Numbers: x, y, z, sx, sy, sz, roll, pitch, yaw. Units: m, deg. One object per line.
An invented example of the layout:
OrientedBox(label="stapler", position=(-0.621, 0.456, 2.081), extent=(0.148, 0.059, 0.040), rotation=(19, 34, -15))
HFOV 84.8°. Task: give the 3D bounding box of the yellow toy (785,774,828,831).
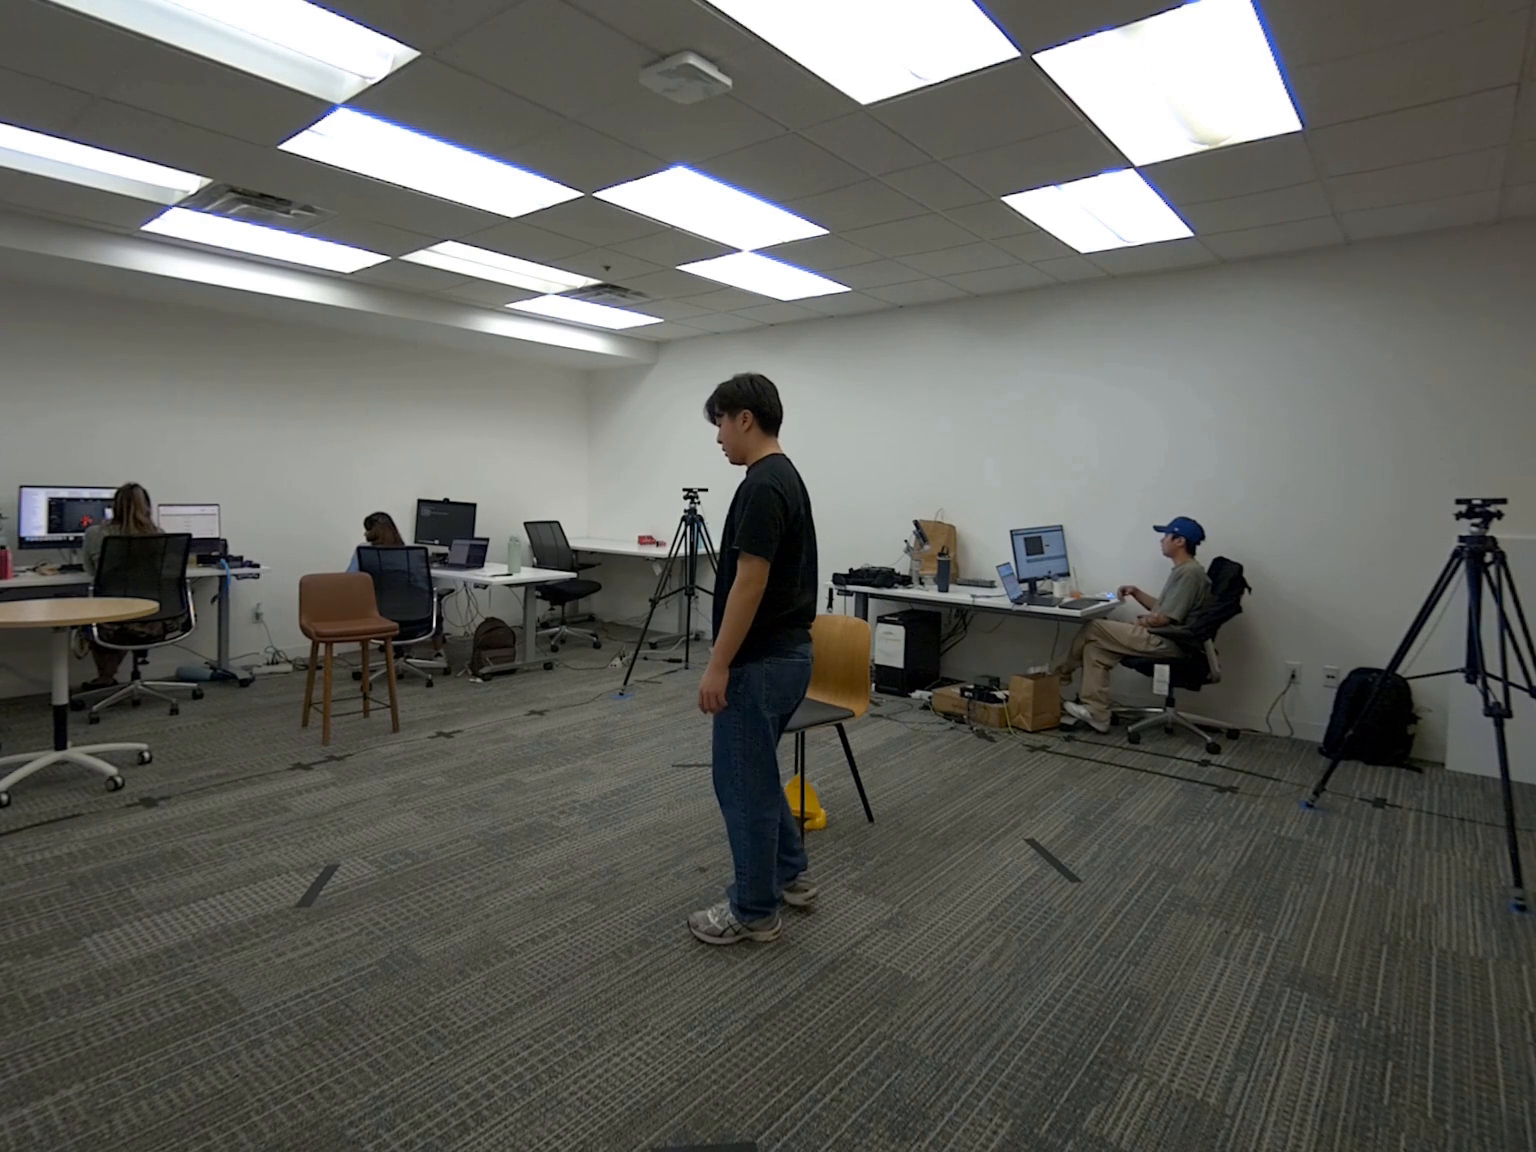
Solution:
OrientedBox(label="yellow toy", position=(0.137, 0.917, 3.576), extent=(0.209, 0.230, 0.190), rotation=(3, 6, 18))
